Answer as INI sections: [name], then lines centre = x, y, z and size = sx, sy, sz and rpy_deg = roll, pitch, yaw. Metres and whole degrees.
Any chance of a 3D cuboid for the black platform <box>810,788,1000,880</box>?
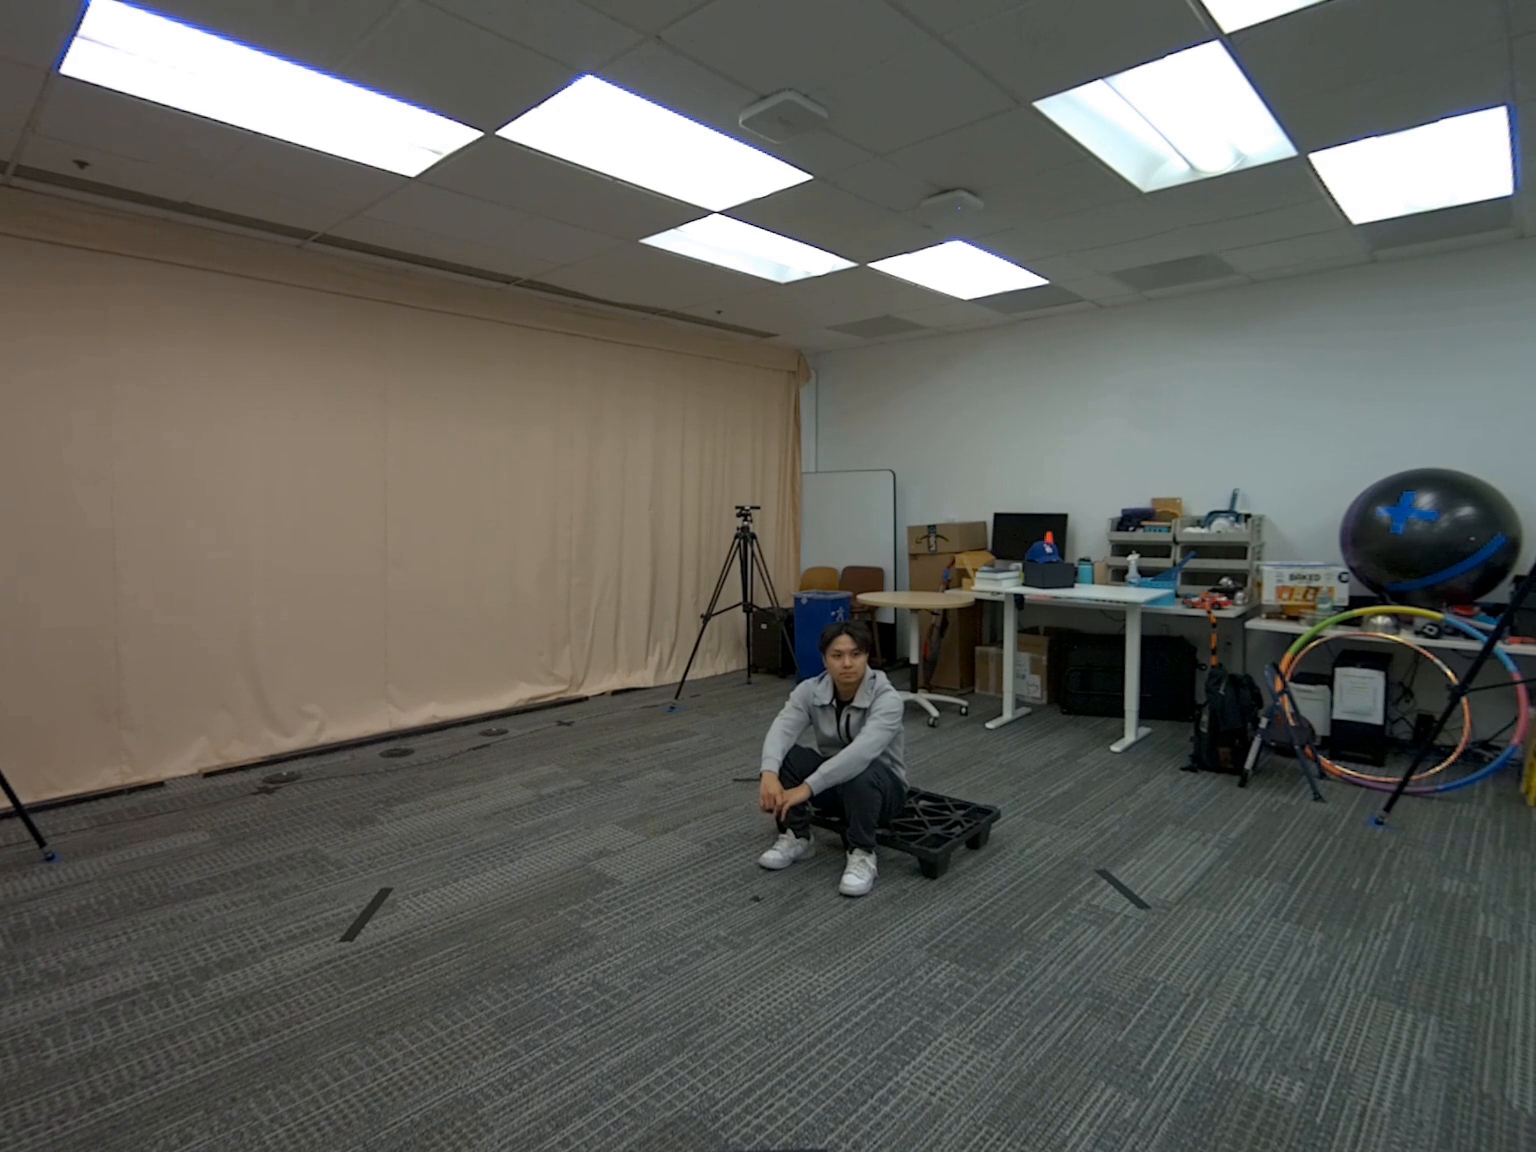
[black platform]
centre = 0.478, 1.031, 3.535
size = 0.832, 0.143, 0.587
rpy_deg = 4, 6, 39
